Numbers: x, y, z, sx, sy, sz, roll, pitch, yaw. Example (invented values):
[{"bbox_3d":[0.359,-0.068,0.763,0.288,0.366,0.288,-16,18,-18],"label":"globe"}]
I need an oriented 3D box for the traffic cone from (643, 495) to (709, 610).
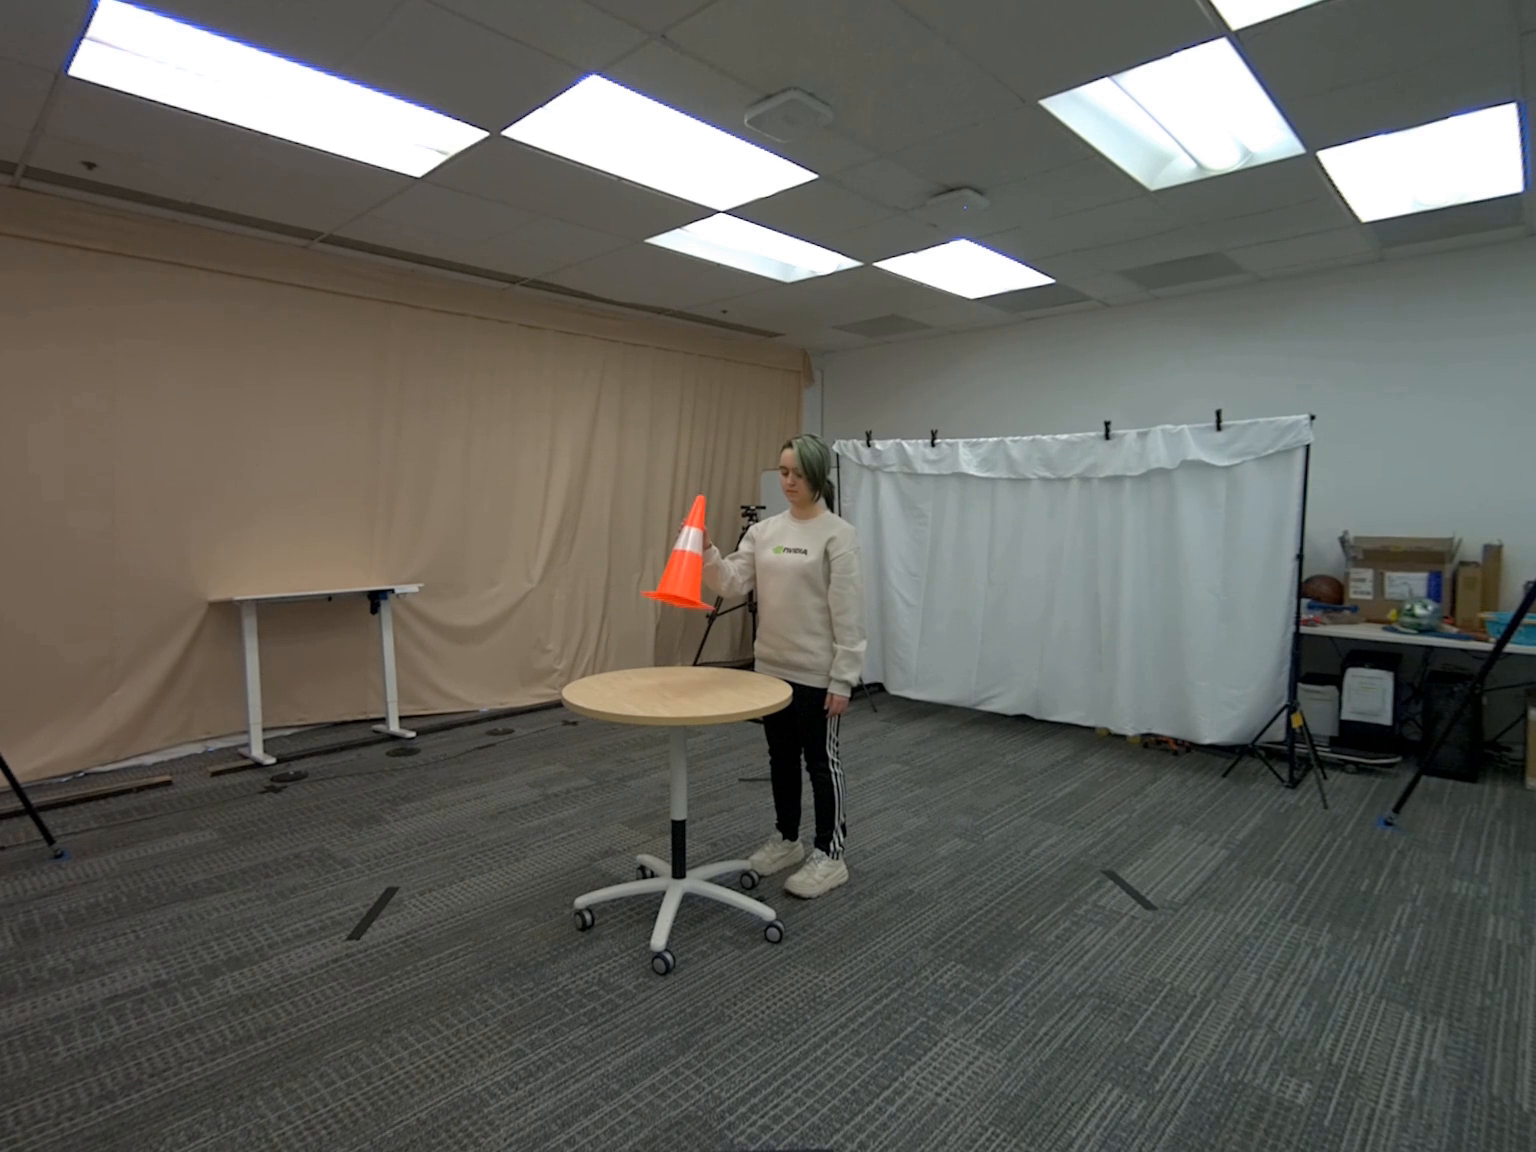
[{"bbox_3d":[-0.272,-0.096,2.929,0.211,0.385,0.196,0,-18,44],"label":"traffic cone"}]
